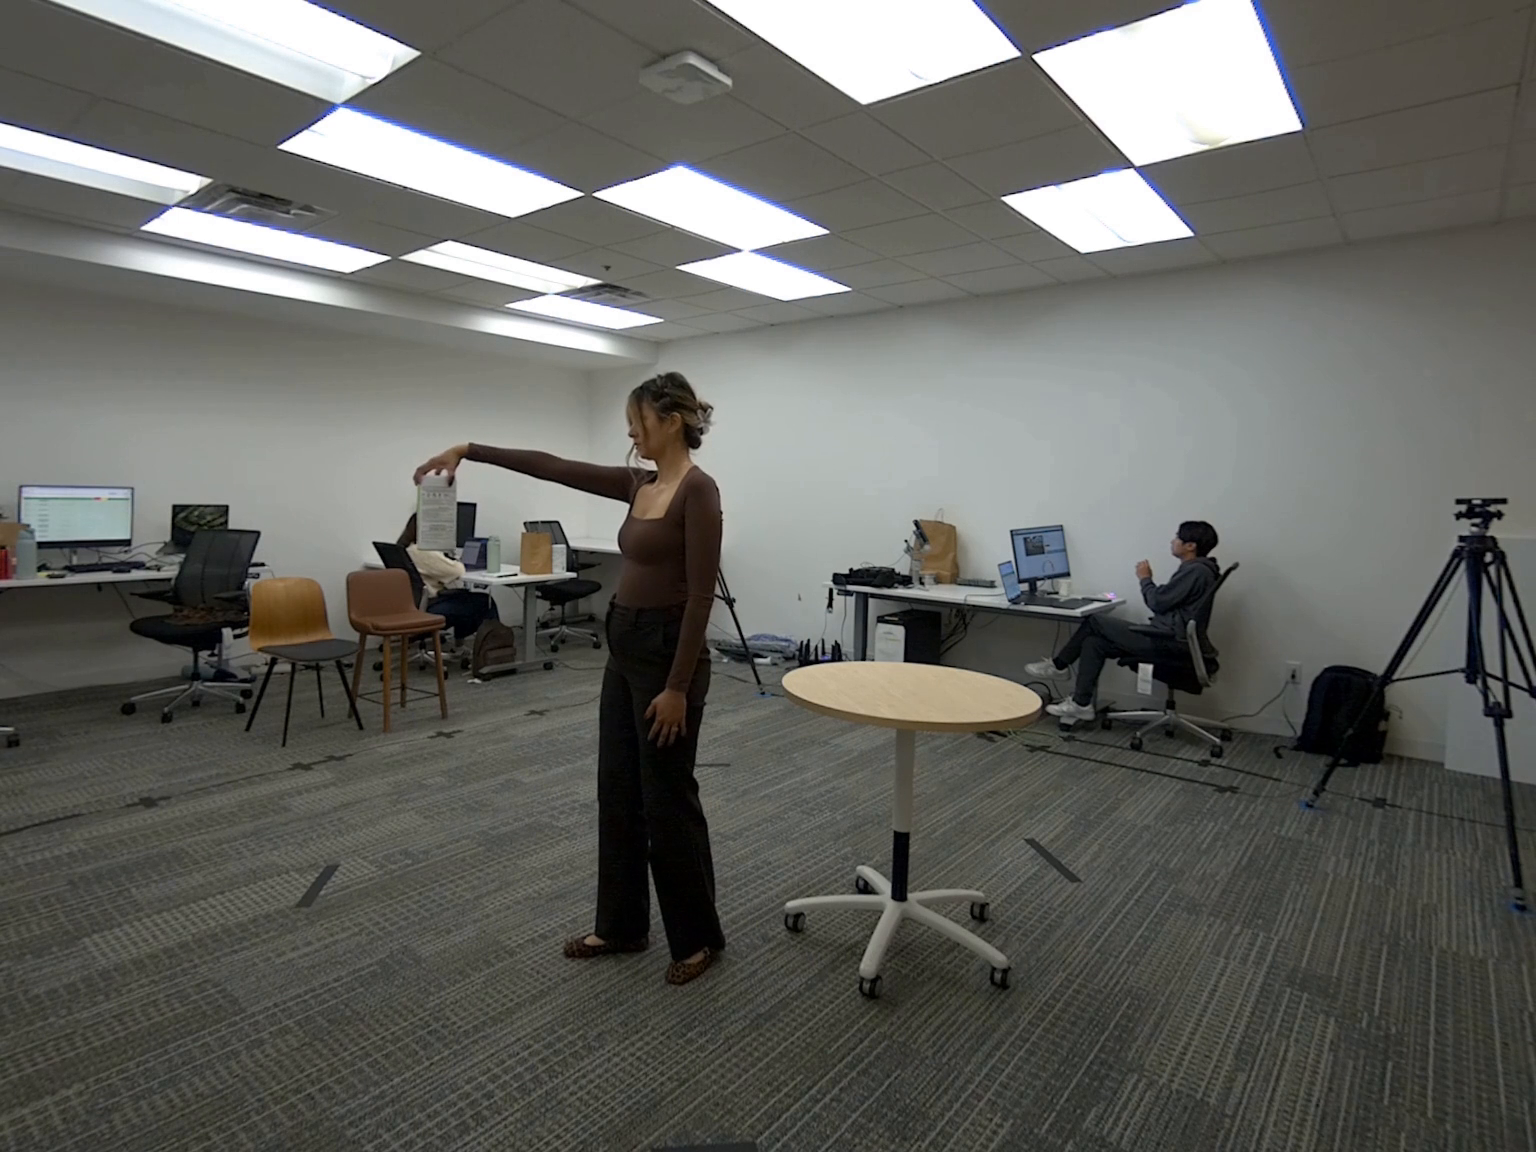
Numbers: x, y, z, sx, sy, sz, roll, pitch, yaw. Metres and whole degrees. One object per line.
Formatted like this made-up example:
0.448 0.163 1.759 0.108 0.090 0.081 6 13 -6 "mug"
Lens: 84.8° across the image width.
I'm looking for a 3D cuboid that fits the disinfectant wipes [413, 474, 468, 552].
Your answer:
-0.956 -0.184 2.454 0.118 0.218 0.118 0 -2 -2 "disinfectant wipes"
